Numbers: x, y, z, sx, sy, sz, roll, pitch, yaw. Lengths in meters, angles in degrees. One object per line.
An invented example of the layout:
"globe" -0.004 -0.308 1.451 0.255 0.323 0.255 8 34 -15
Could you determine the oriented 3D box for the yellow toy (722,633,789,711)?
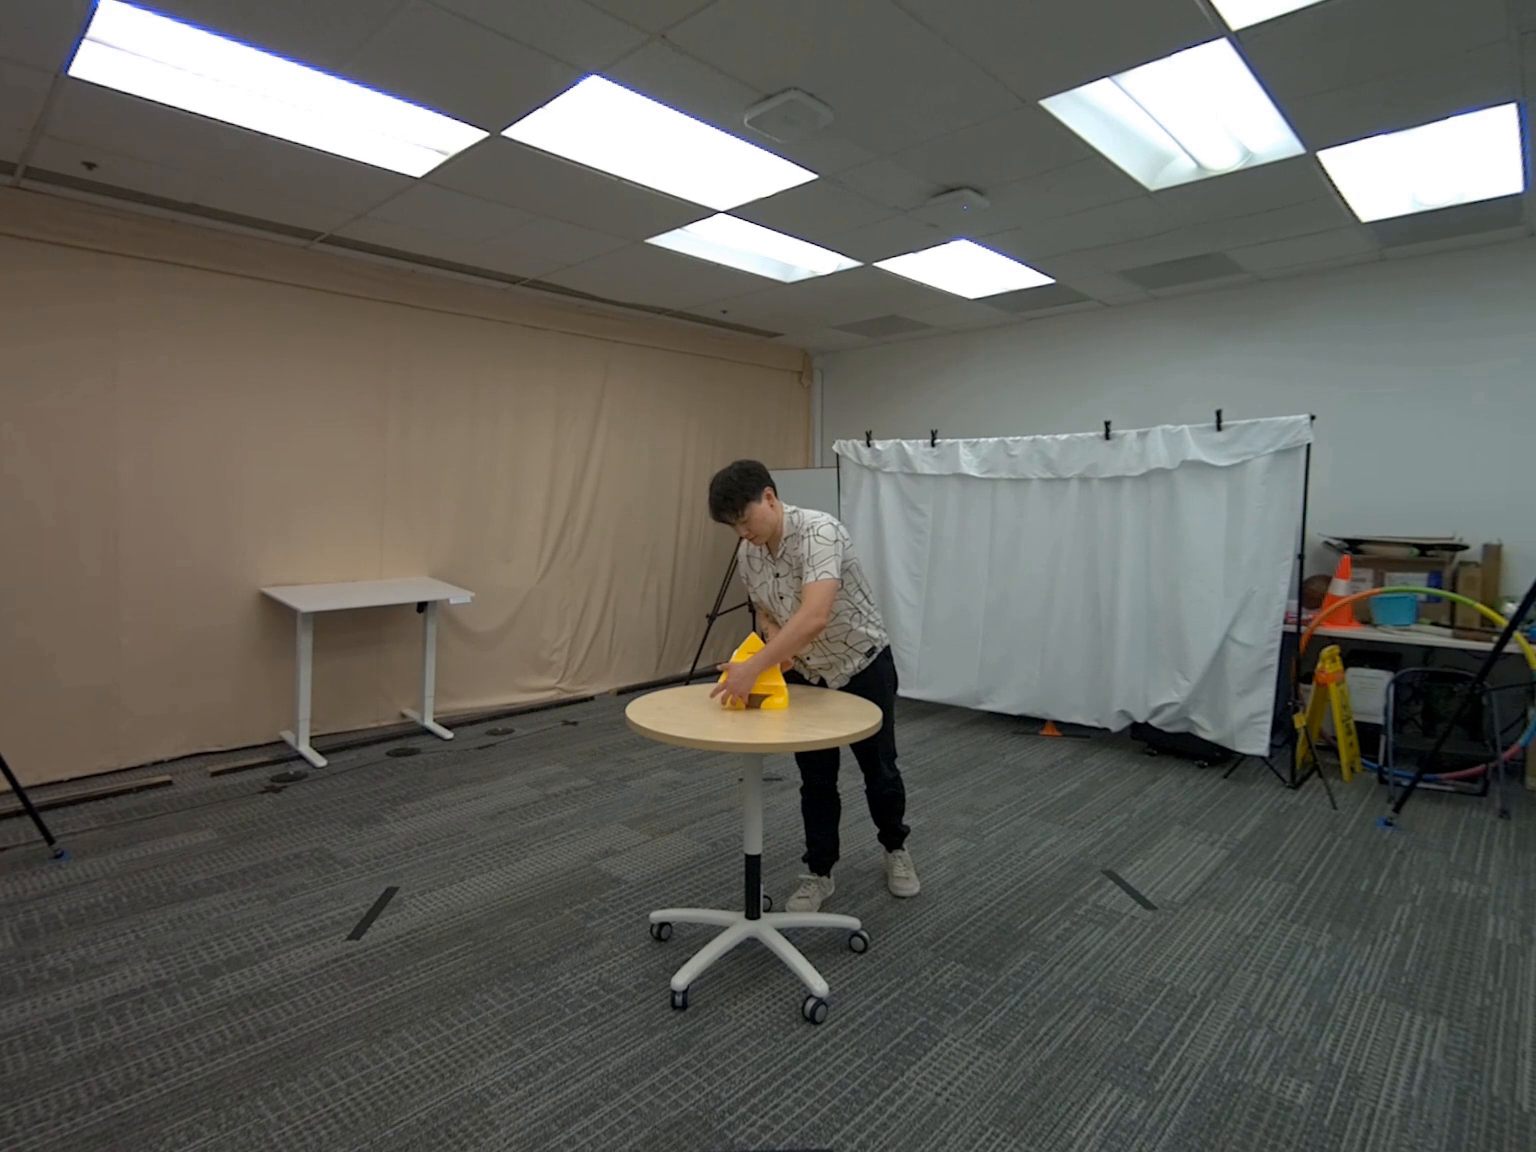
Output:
"yellow toy" -0.034 0.283 2.591 0.207 0.230 0.191 1 2 10
